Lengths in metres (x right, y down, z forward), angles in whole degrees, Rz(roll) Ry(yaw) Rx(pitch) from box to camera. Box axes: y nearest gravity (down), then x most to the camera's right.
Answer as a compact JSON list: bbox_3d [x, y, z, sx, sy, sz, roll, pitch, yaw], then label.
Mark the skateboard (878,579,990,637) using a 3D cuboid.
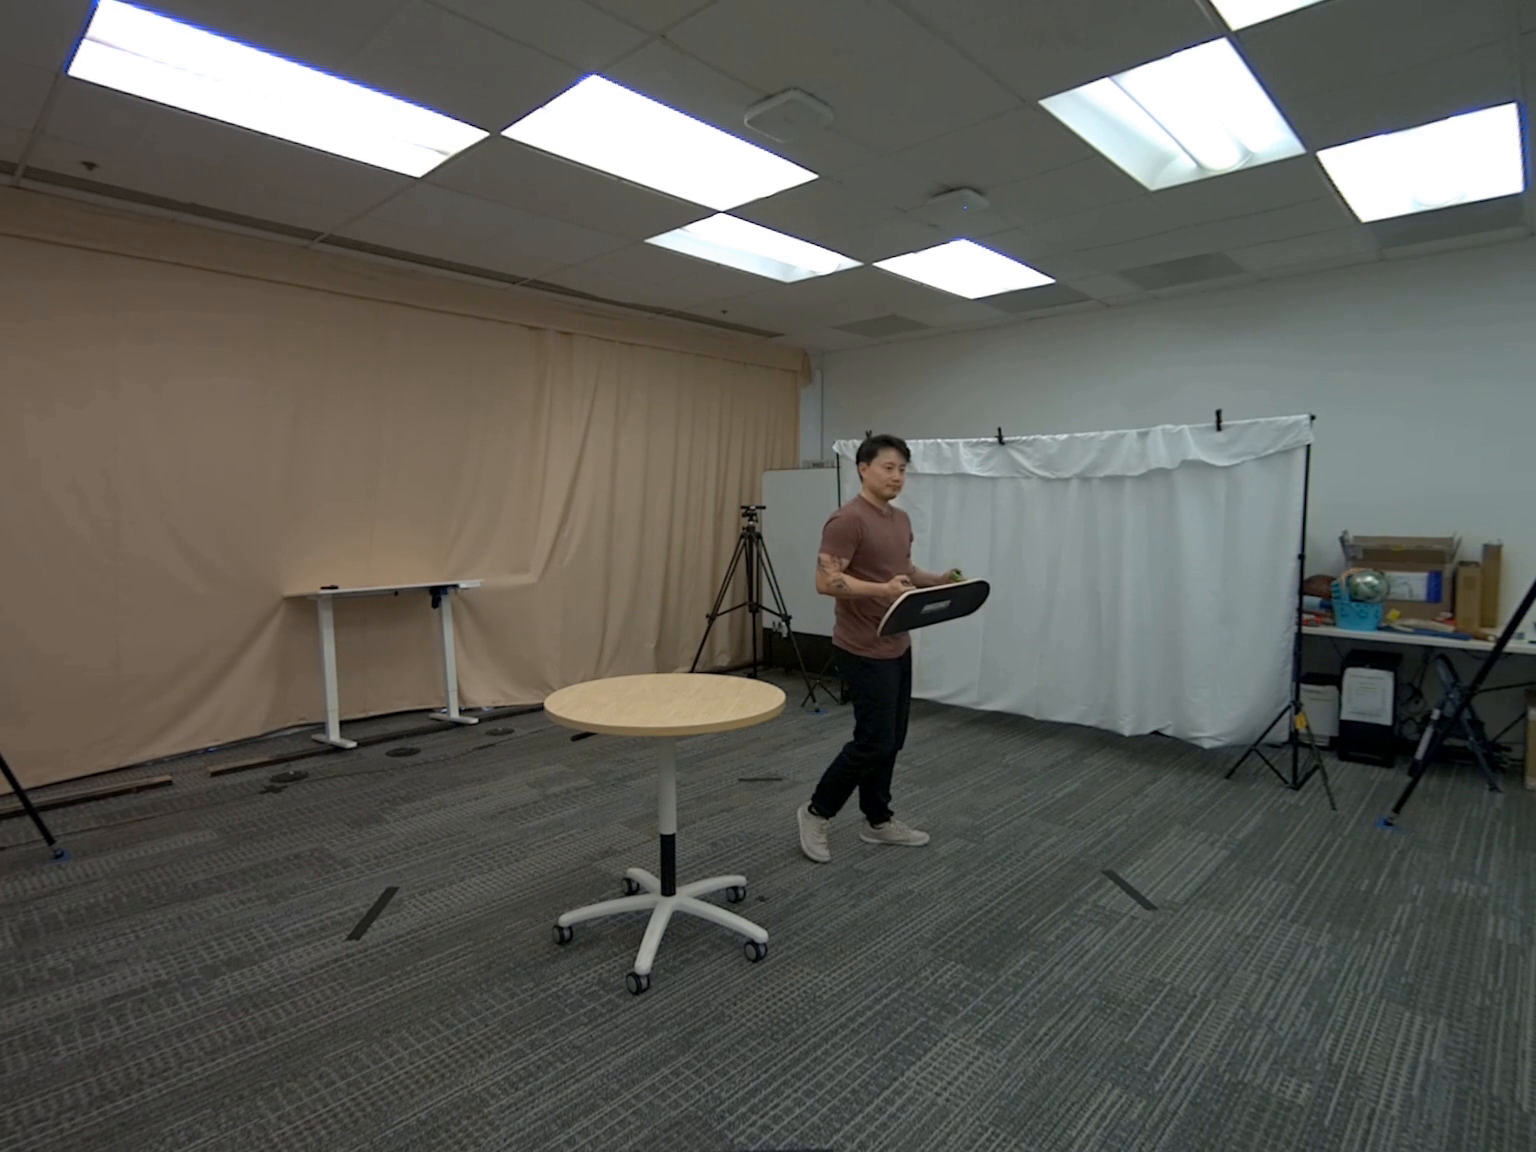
[{"bbox_3d":[0.619,0.104,3.253,0.762,0.193,0.114,-7,38,-48],"label":"skateboard"}]
